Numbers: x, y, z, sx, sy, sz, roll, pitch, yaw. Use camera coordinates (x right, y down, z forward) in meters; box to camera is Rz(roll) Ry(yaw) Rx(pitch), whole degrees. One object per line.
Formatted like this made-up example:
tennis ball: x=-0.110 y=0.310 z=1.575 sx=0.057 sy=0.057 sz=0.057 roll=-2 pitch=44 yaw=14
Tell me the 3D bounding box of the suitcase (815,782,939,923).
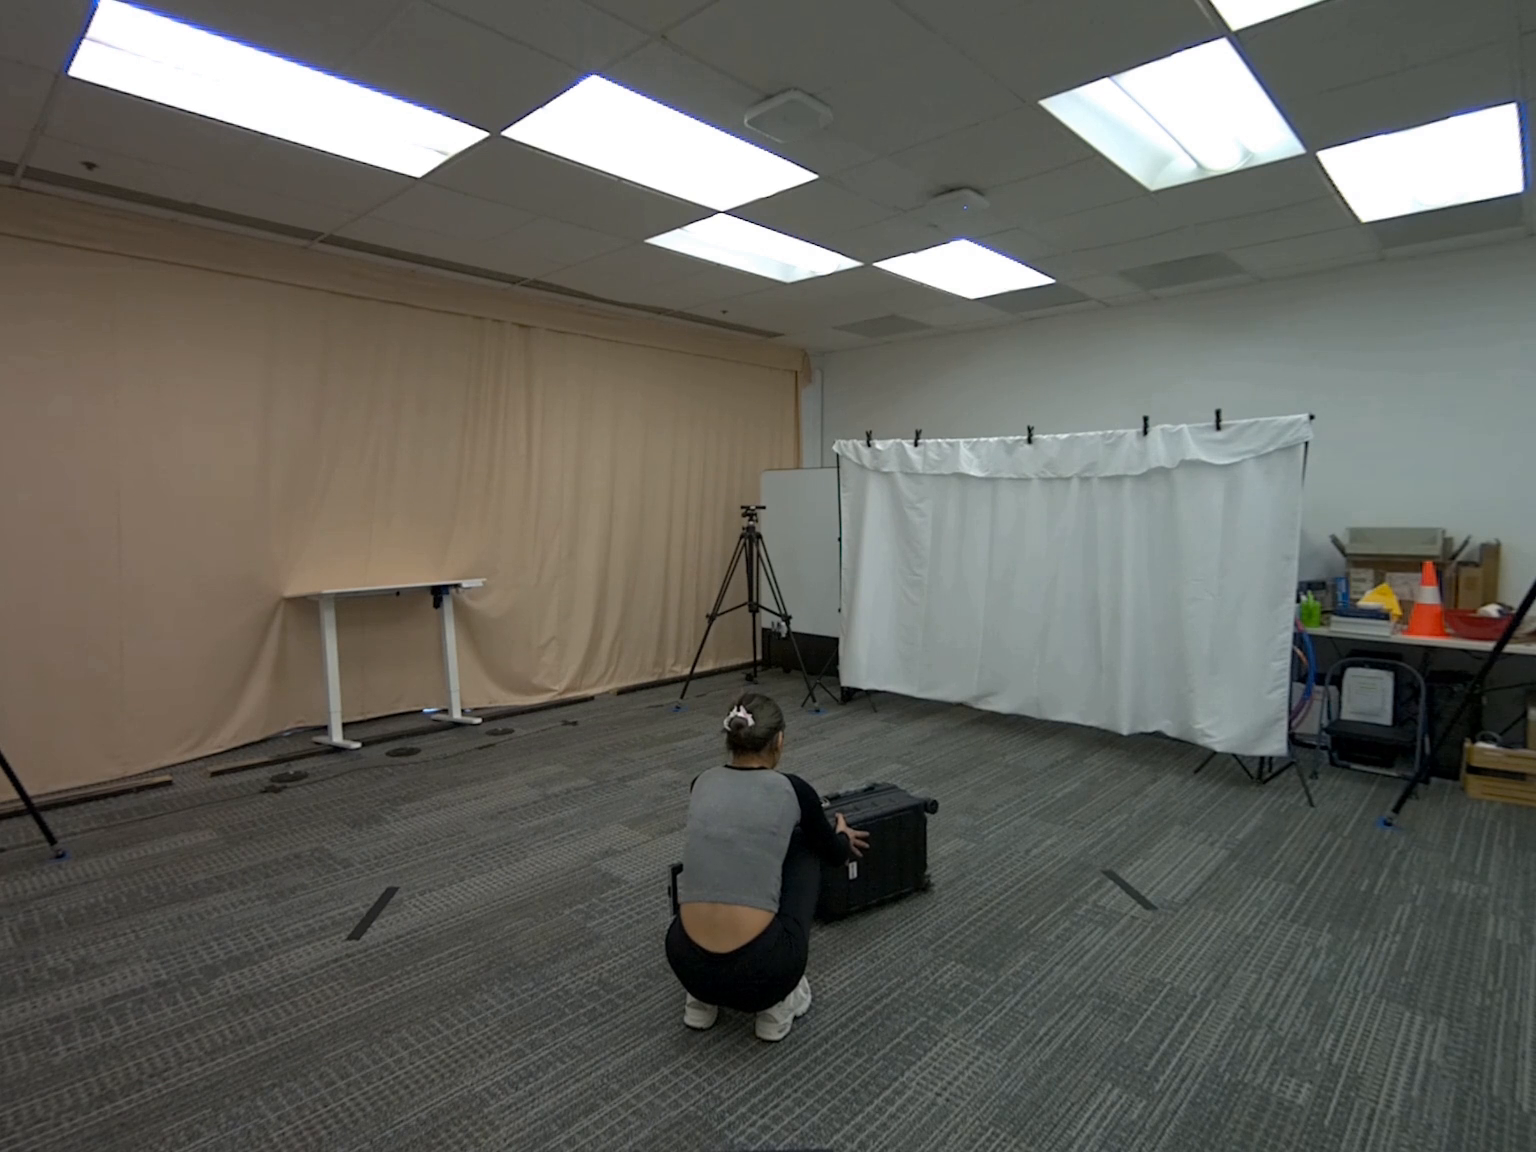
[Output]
suitcase: x=0.162 y=0.967 z=2.854 sx=0.950 sy=0.383 sz=0.265 roll=-3 pitch=3 yaw=-34
